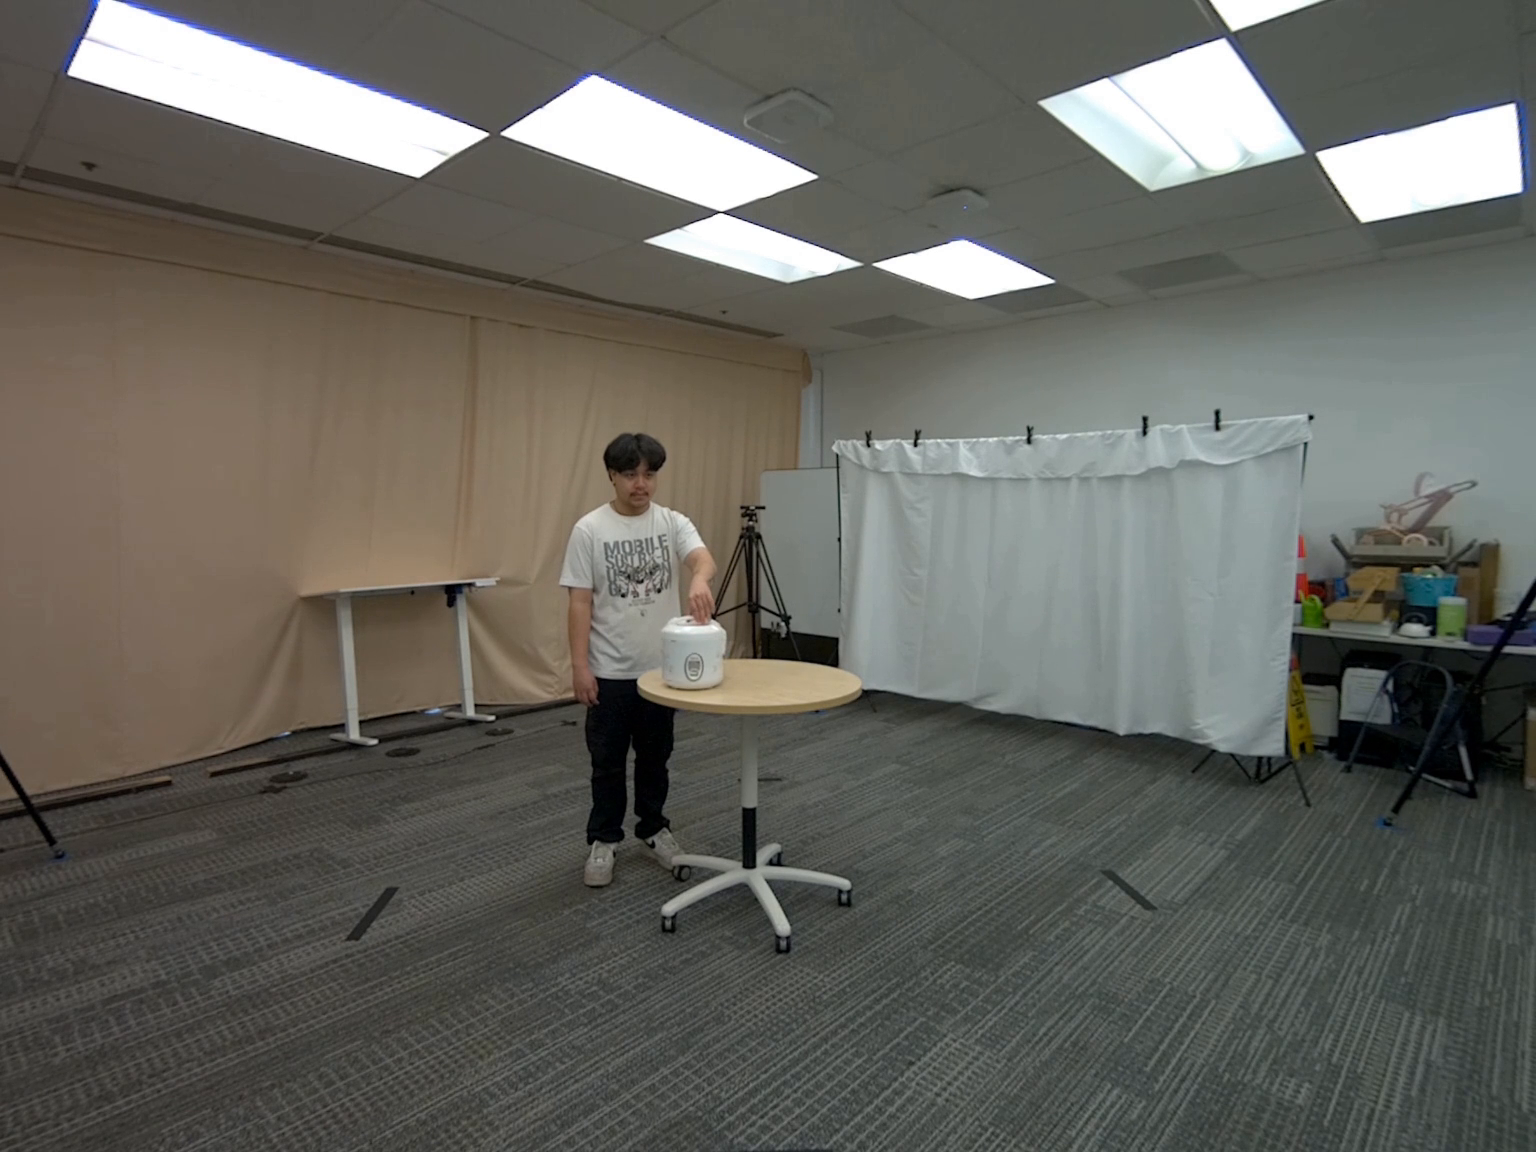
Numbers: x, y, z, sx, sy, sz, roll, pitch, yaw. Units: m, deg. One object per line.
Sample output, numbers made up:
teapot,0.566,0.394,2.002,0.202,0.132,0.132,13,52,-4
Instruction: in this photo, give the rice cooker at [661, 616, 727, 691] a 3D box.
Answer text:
rice cooker,-0.245,0.248,2.794,0.220,0.232,0.219,0,4,-5
